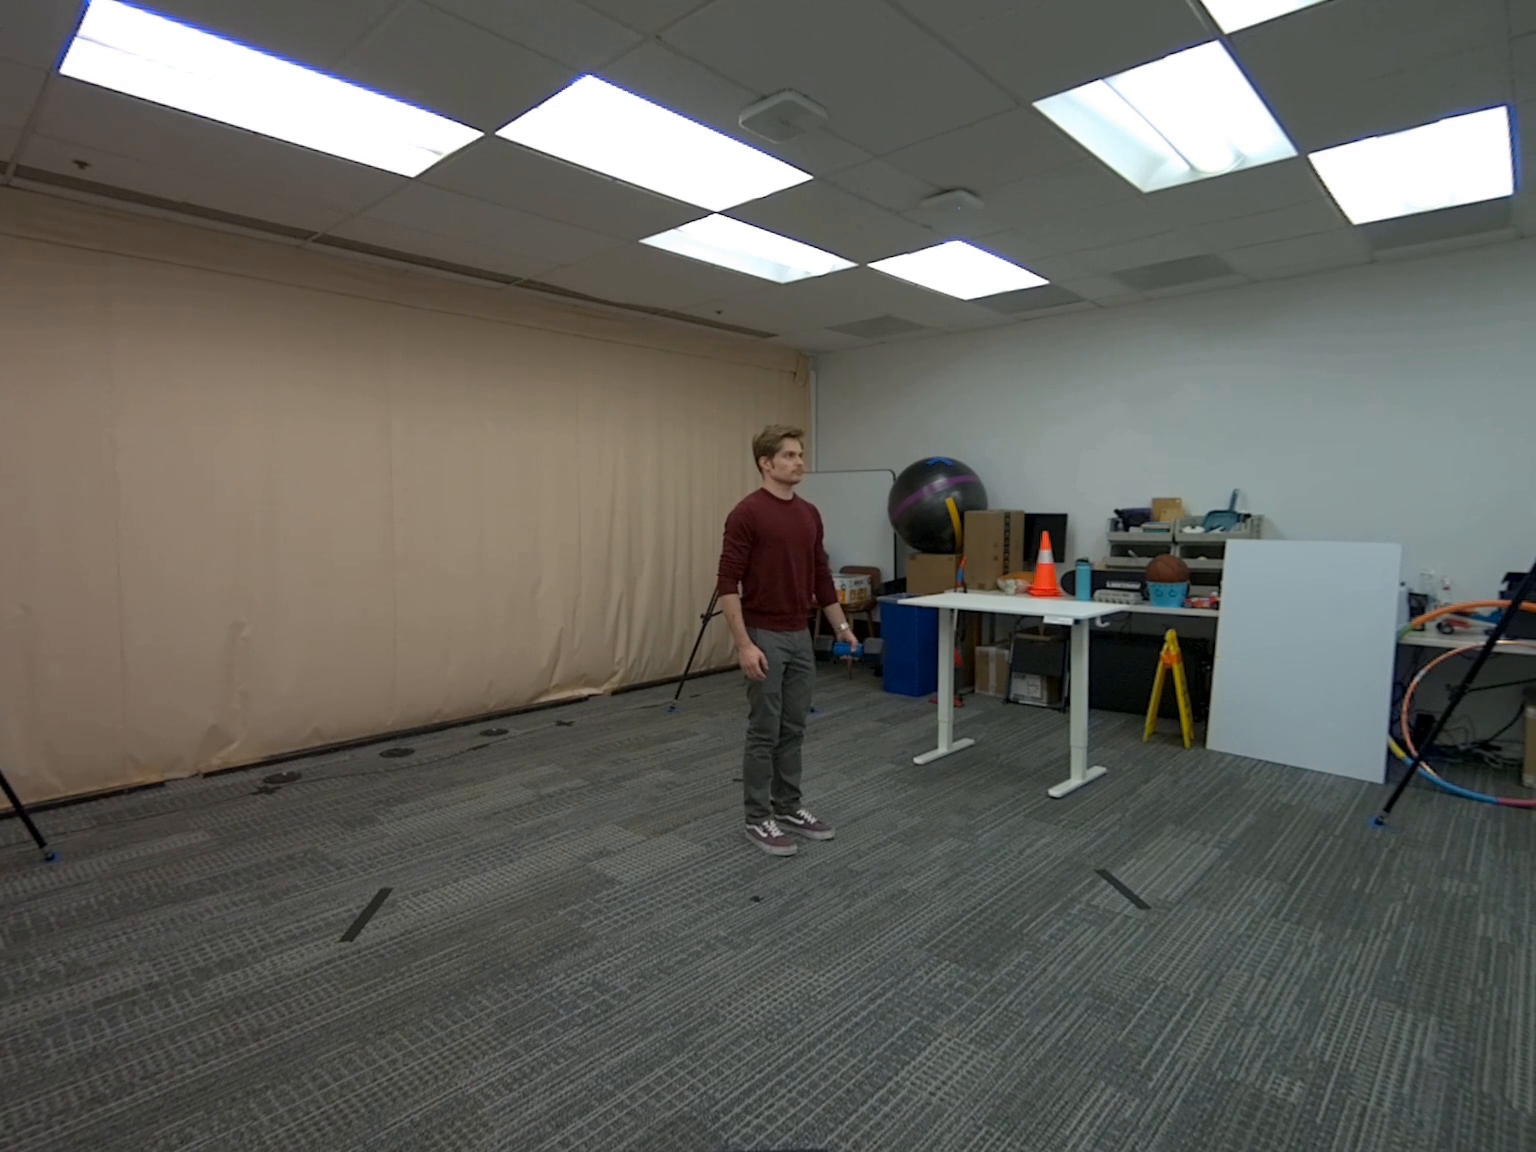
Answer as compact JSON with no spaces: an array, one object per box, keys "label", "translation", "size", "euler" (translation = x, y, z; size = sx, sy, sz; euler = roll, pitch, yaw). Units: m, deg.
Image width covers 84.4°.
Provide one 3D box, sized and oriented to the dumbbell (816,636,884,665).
[{"label":"dumbbell","translation":[0.357,0.304,3.593],"size":[0.300,0.120,0.108],"euler":[1,30,22]}]
